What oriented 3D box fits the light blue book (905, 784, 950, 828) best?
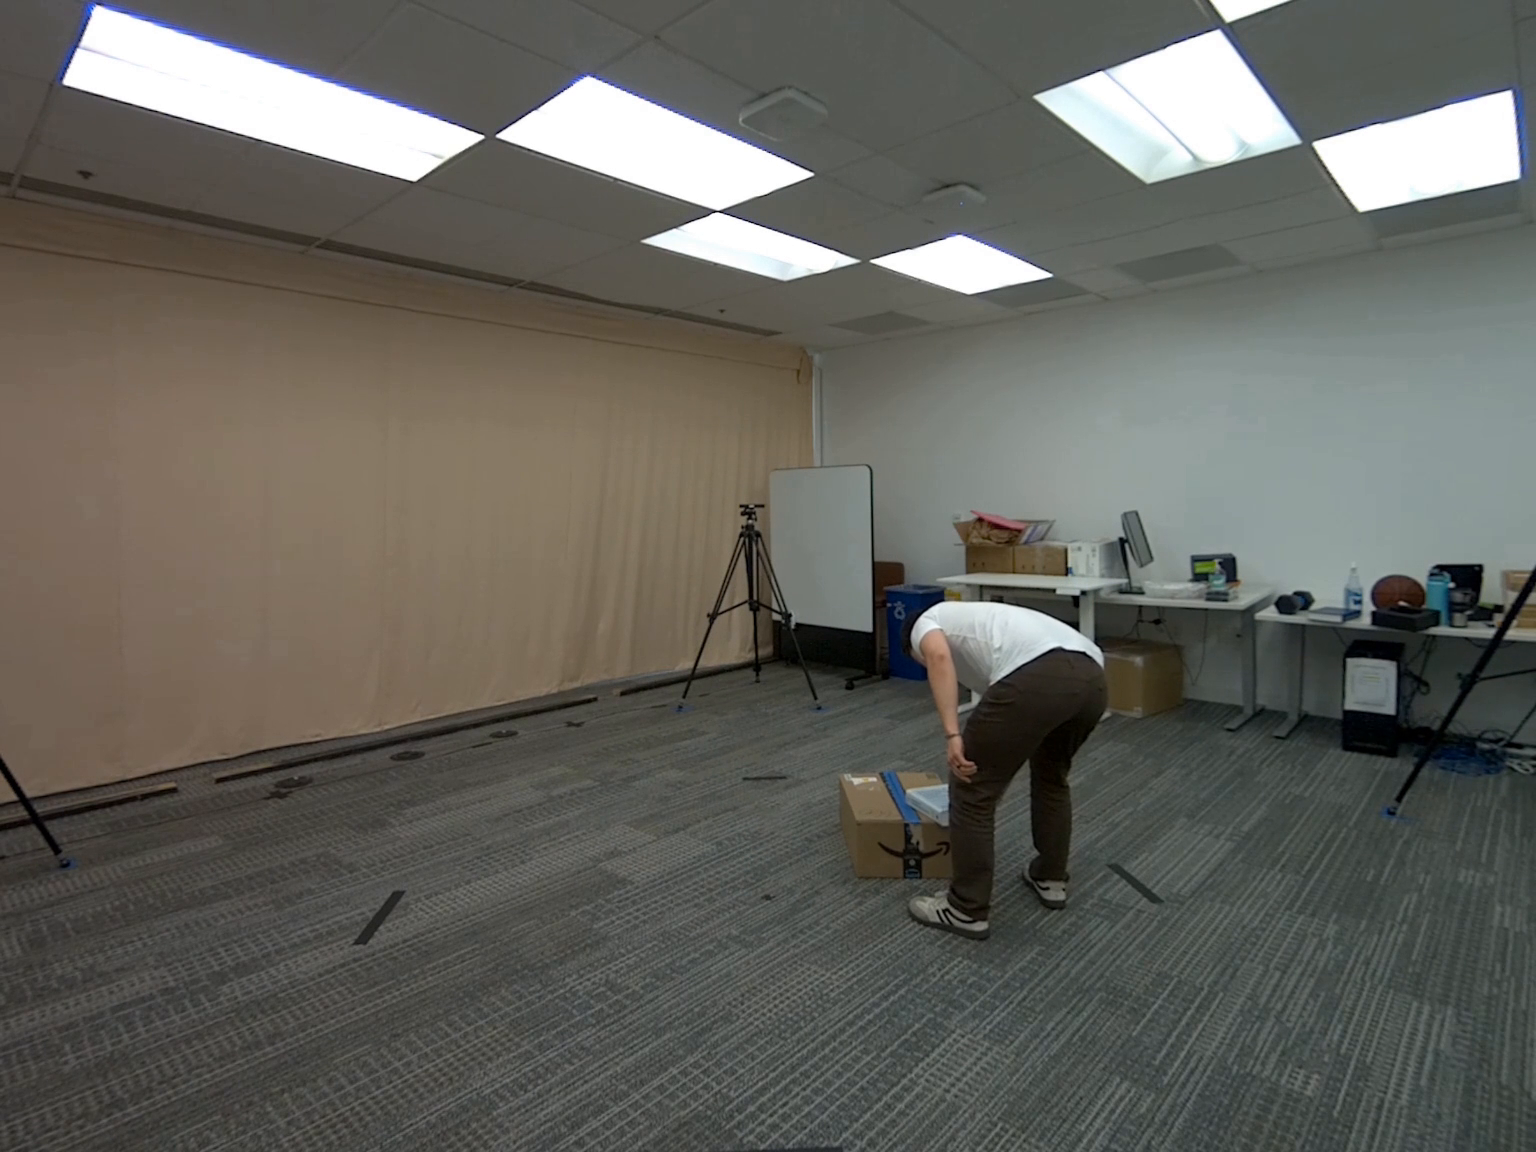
[{"bbox_3d":[0.681,0.869,3.192,0.188,0.059,0.266,-3,4,-19],"label":"light blue book"}]
